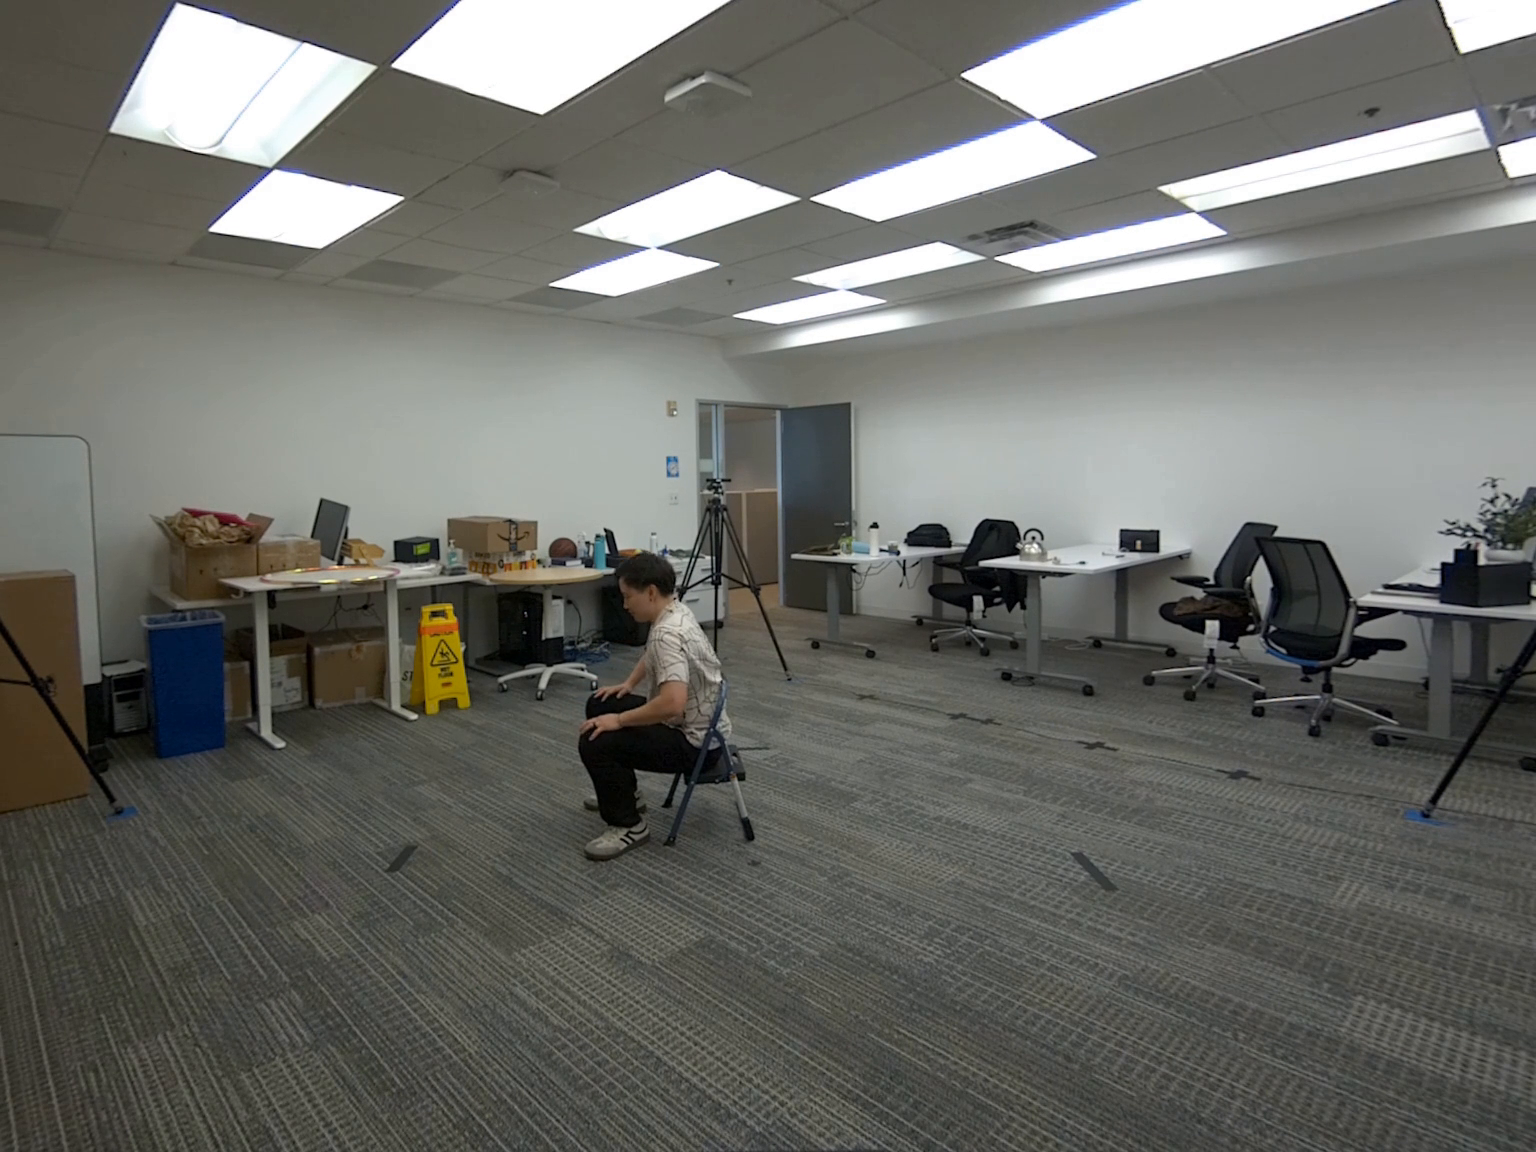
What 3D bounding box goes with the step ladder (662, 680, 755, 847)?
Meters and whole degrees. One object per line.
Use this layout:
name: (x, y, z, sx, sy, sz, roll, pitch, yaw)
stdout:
step ladder: (-0.254, 0.708, 3.465, 0.347, 0.604, 0.435, -2, 4, -8)
